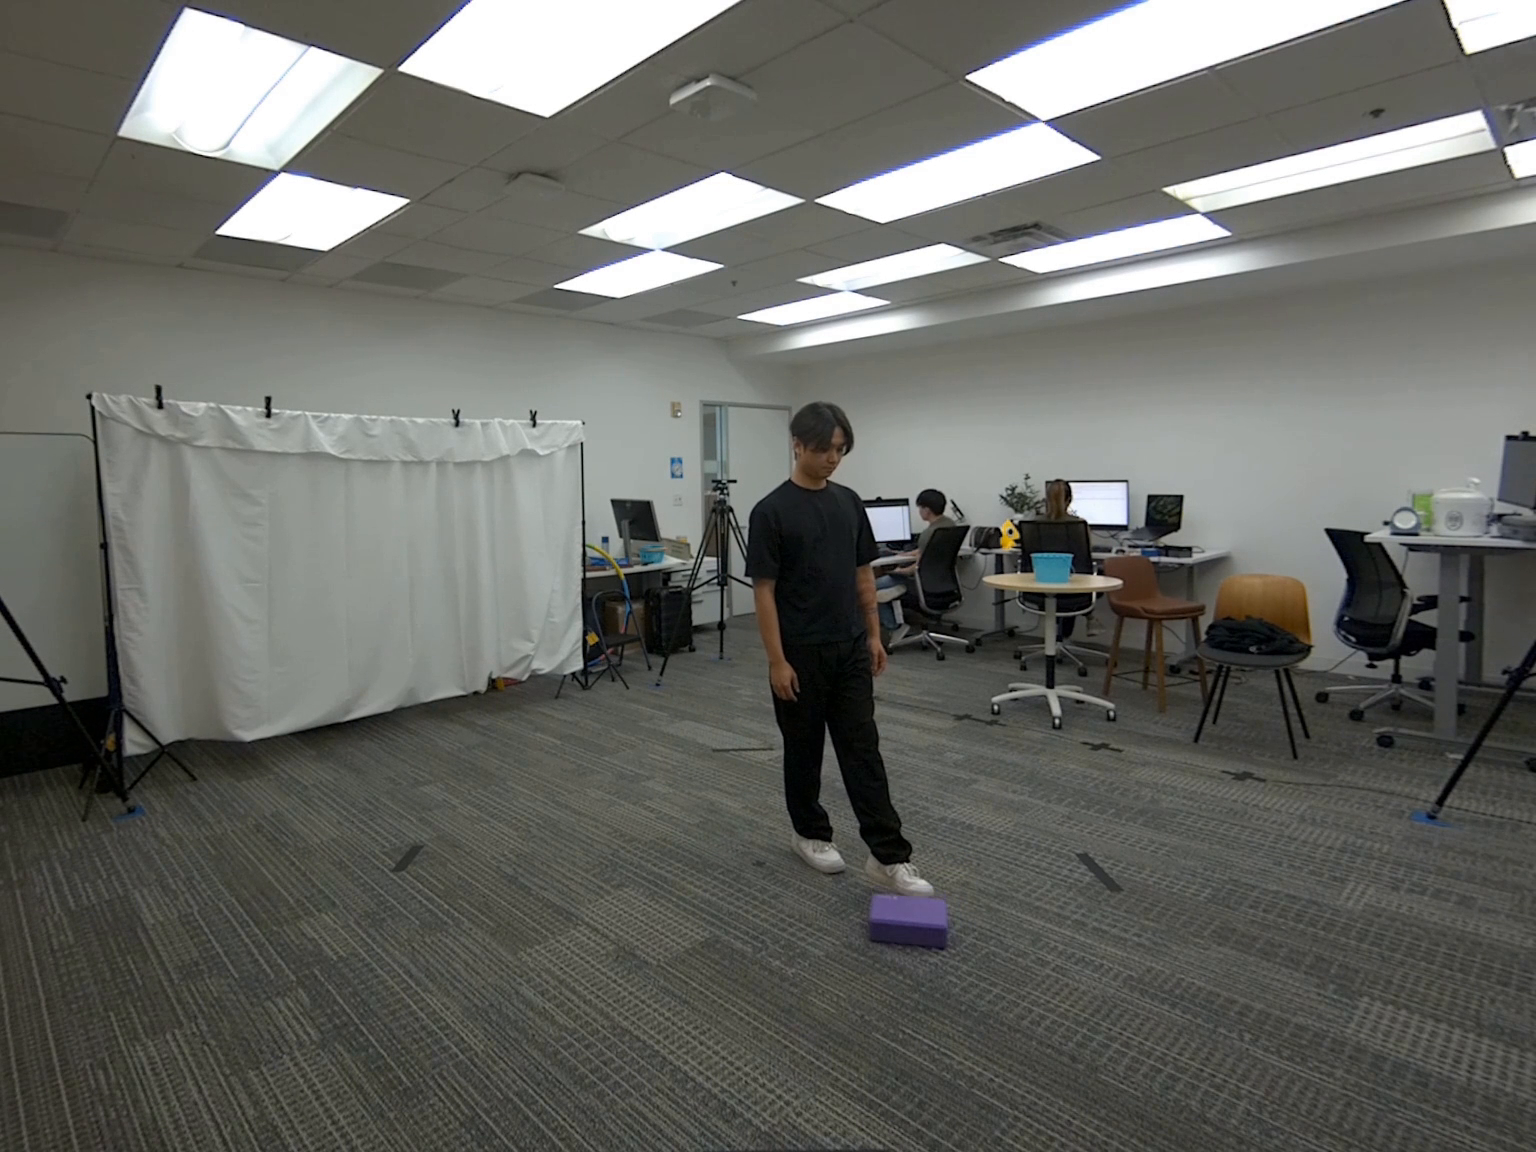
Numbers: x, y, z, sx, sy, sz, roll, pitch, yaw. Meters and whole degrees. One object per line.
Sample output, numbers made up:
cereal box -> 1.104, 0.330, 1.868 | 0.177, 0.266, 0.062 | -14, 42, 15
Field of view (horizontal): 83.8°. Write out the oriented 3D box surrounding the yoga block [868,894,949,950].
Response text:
yoga block -> 0.433, 1.049, 2.607 | 0.232, 0.076, 0.148 | 0, 11, 13
